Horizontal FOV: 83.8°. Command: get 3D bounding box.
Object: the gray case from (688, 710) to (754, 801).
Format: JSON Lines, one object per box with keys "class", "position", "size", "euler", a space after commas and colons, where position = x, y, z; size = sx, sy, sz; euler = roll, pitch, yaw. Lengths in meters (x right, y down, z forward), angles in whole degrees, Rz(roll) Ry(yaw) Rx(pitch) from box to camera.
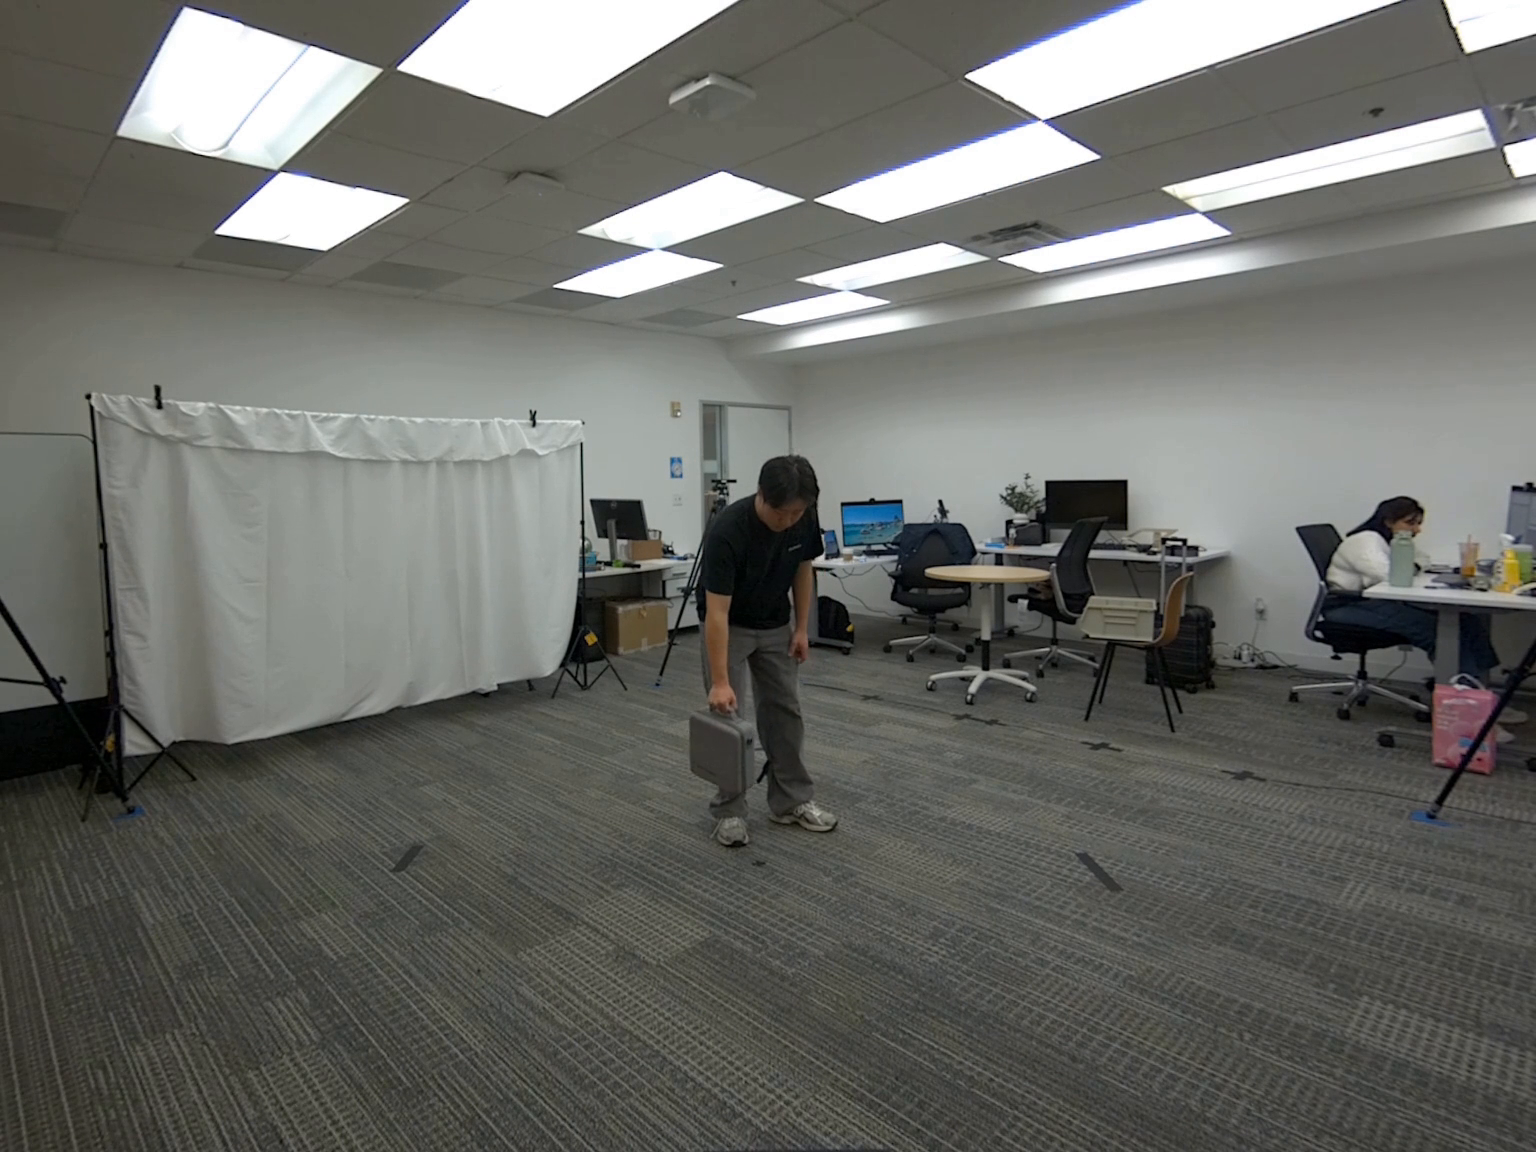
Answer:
{"class": "gray case", "position": [-0.163, 0.609, 3.054], "size": [0.272, 0.283, 0.101], "euler": [14, 20, 42]}
